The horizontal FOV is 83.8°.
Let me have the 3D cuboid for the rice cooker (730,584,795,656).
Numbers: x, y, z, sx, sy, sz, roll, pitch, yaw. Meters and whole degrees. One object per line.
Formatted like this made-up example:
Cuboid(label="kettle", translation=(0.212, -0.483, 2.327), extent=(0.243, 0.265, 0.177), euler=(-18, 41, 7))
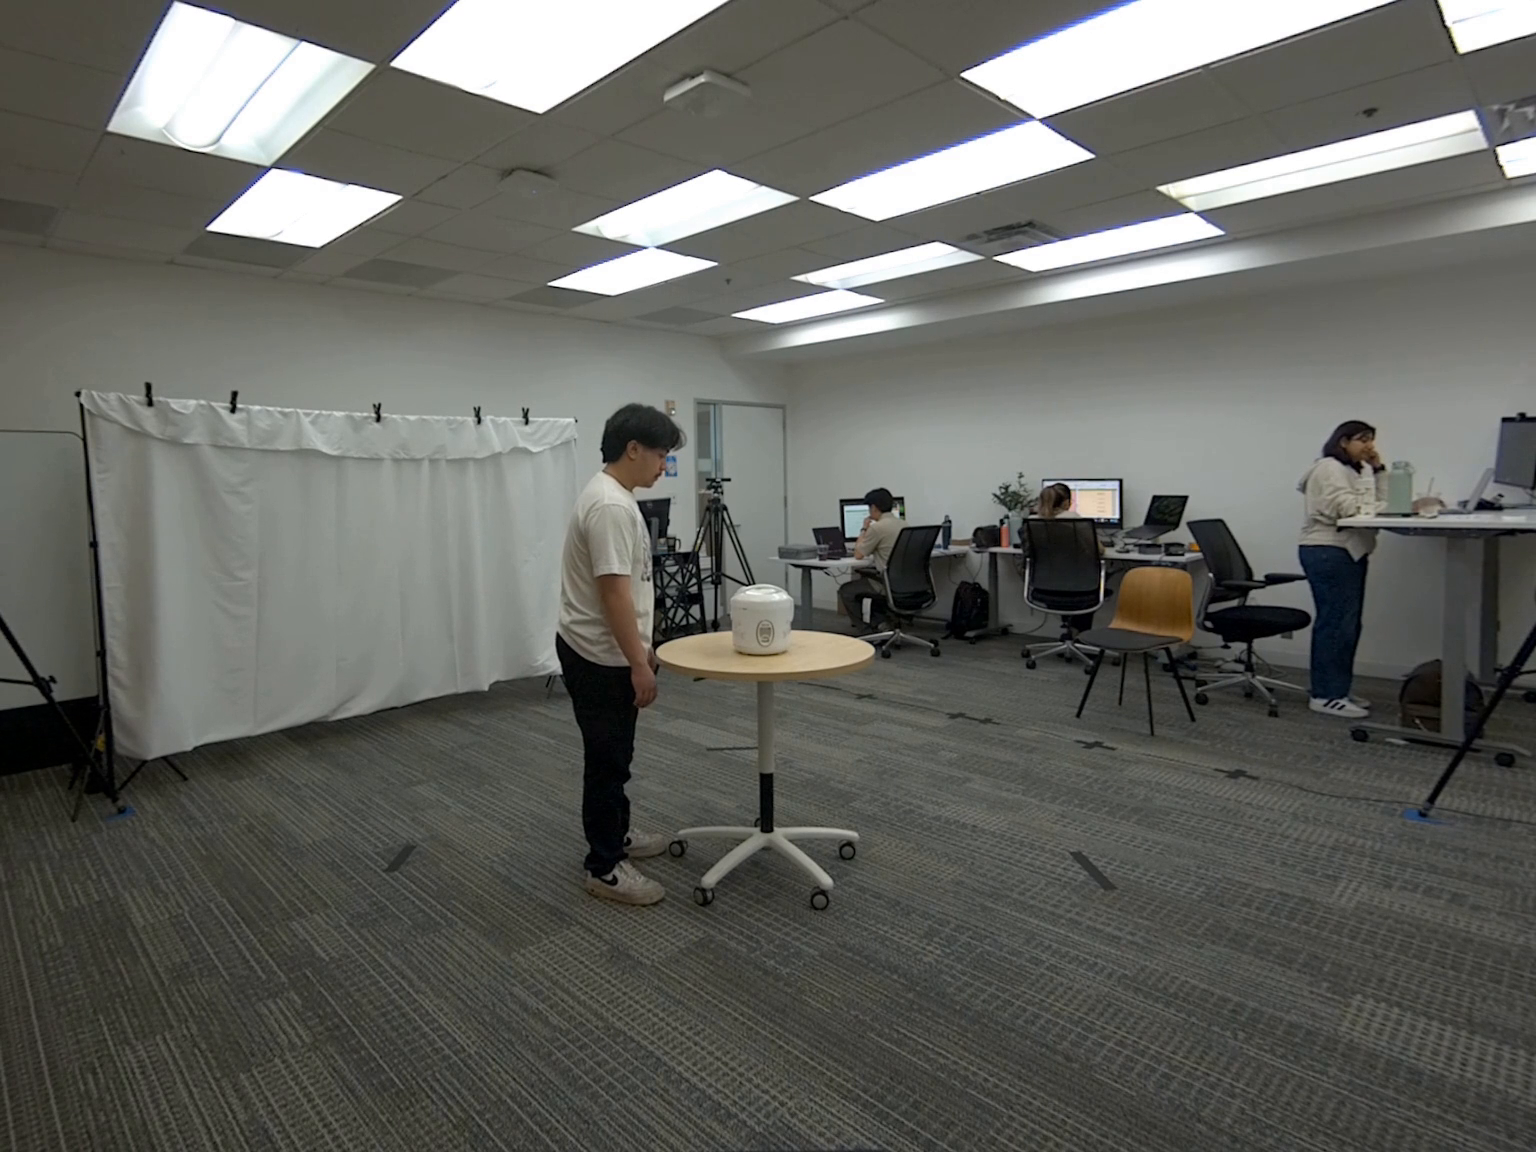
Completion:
Cuboid(label="rice cooker", translation=(-0.018, 0.141, 2.956), extent=(0.219, 0.232, 0.219), euler=(-2, 4, -6))
